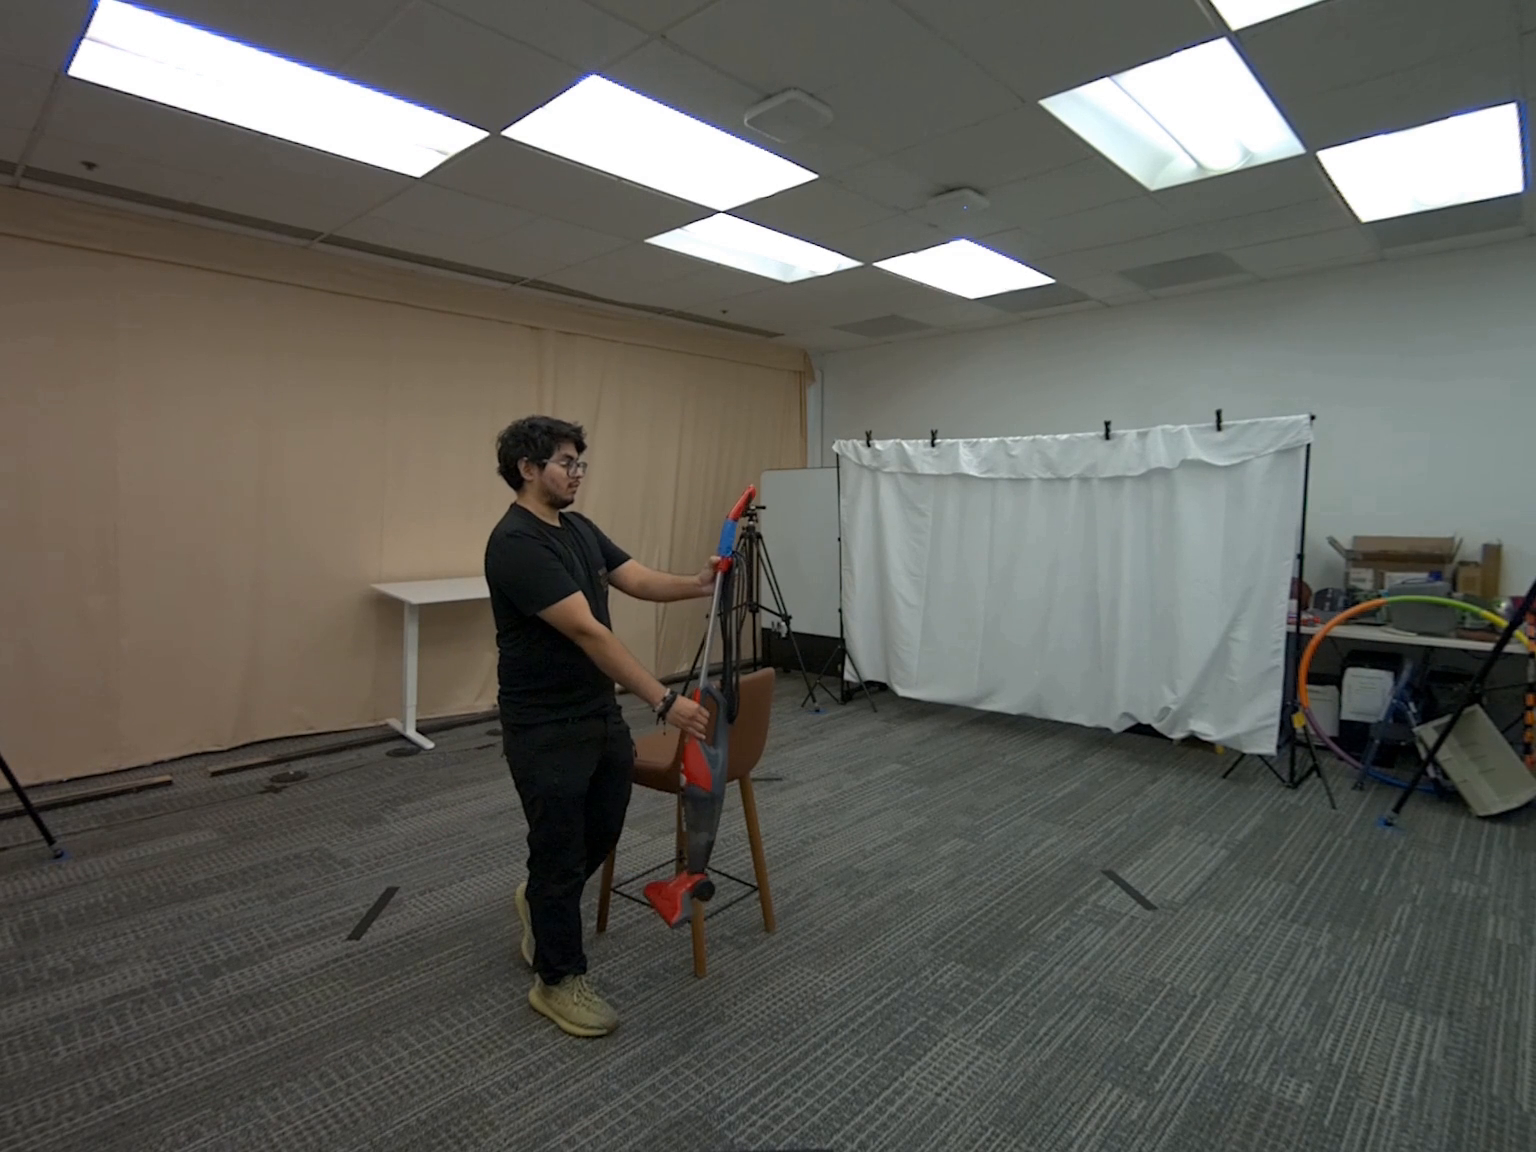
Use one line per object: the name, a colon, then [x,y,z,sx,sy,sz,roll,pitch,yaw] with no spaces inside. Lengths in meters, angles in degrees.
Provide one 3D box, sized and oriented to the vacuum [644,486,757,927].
vacuum: [-0.120,0.281,2.160,0.143,1.052,0.253,11,-6,-4]
